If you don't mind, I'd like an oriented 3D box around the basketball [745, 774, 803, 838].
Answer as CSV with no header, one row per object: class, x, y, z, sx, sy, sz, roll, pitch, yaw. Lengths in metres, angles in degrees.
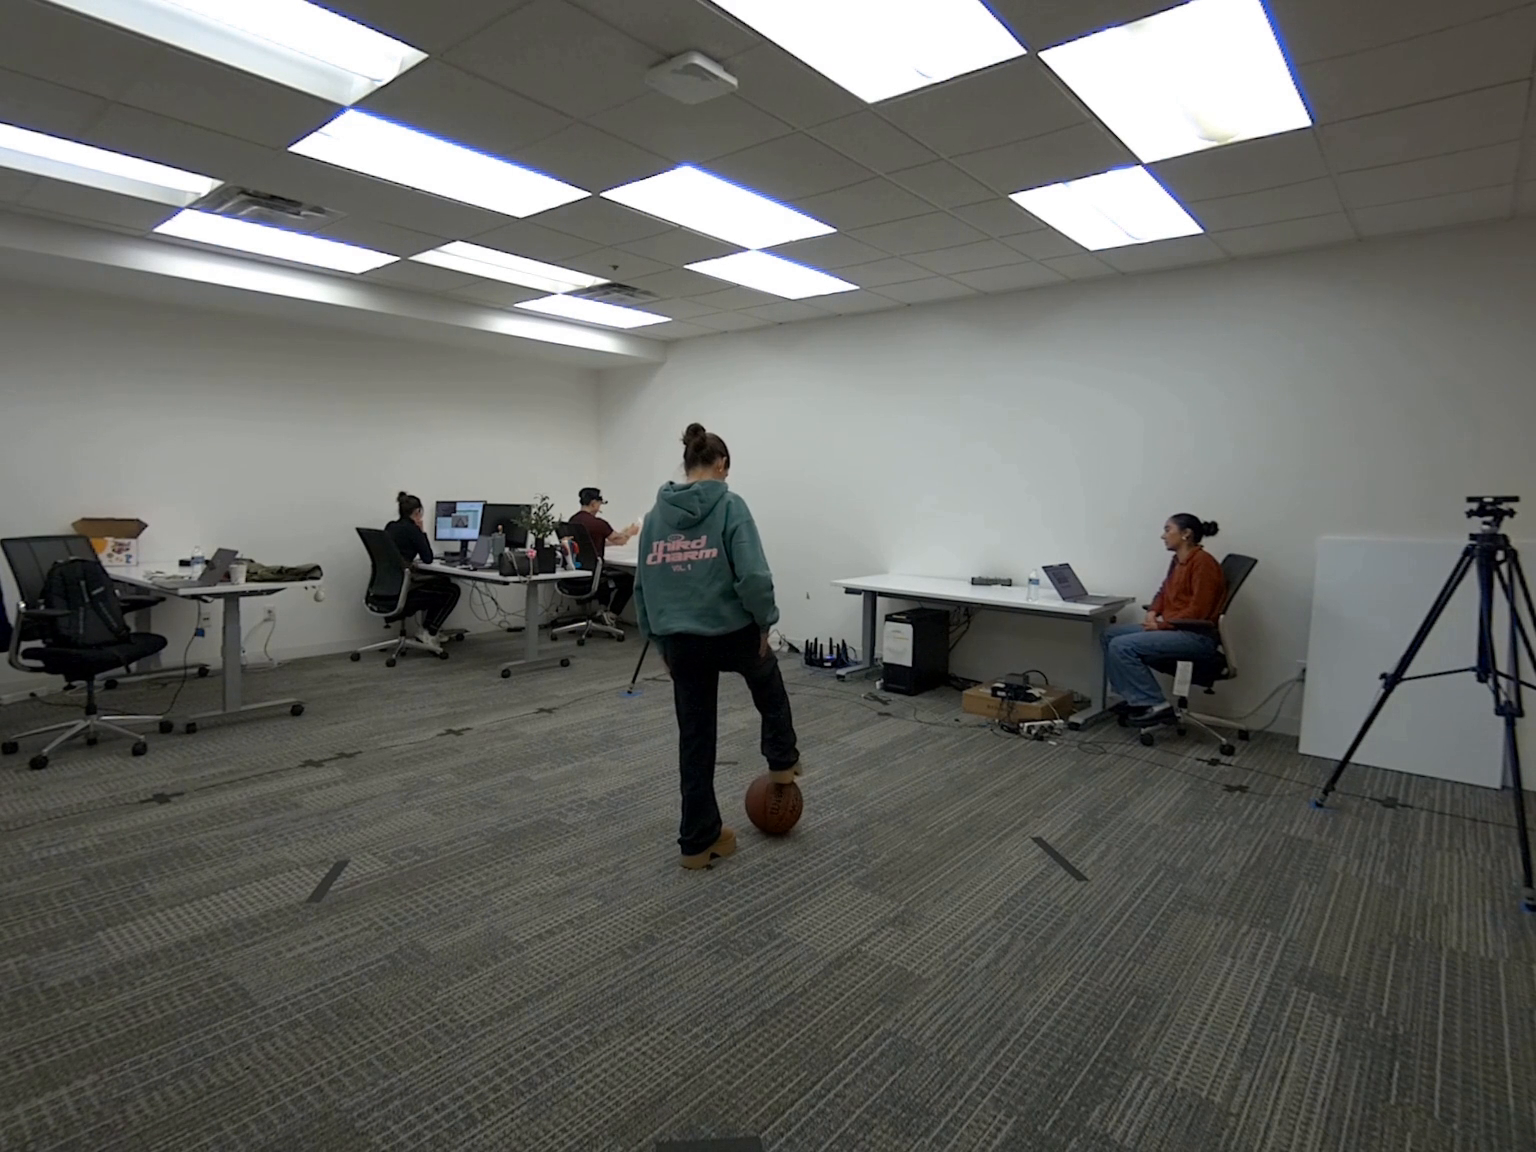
basketball,0.008,0.918,3.453,0.236,0.235,0.237,1,4,-2
